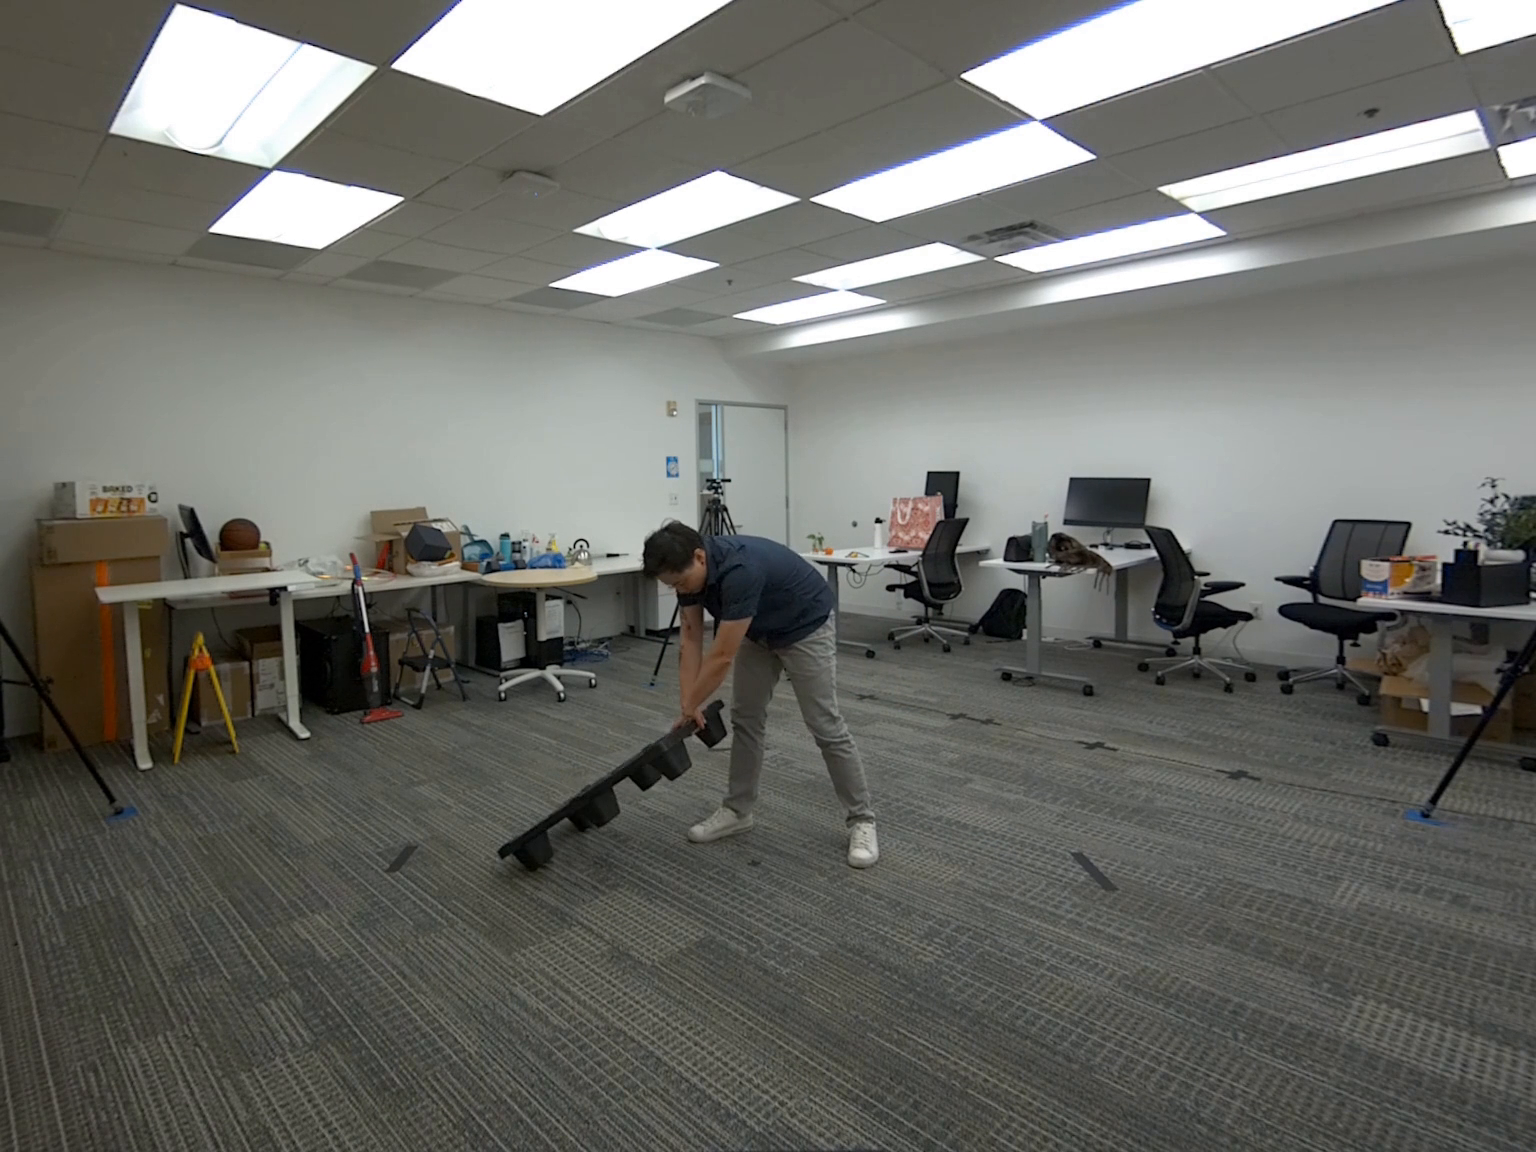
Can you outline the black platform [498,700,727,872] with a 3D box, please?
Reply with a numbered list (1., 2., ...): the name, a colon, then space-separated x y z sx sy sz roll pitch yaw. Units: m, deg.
1. black platform: -0.531 0.780 3.174 0.809 0.144 0.598 -36 -3 18
